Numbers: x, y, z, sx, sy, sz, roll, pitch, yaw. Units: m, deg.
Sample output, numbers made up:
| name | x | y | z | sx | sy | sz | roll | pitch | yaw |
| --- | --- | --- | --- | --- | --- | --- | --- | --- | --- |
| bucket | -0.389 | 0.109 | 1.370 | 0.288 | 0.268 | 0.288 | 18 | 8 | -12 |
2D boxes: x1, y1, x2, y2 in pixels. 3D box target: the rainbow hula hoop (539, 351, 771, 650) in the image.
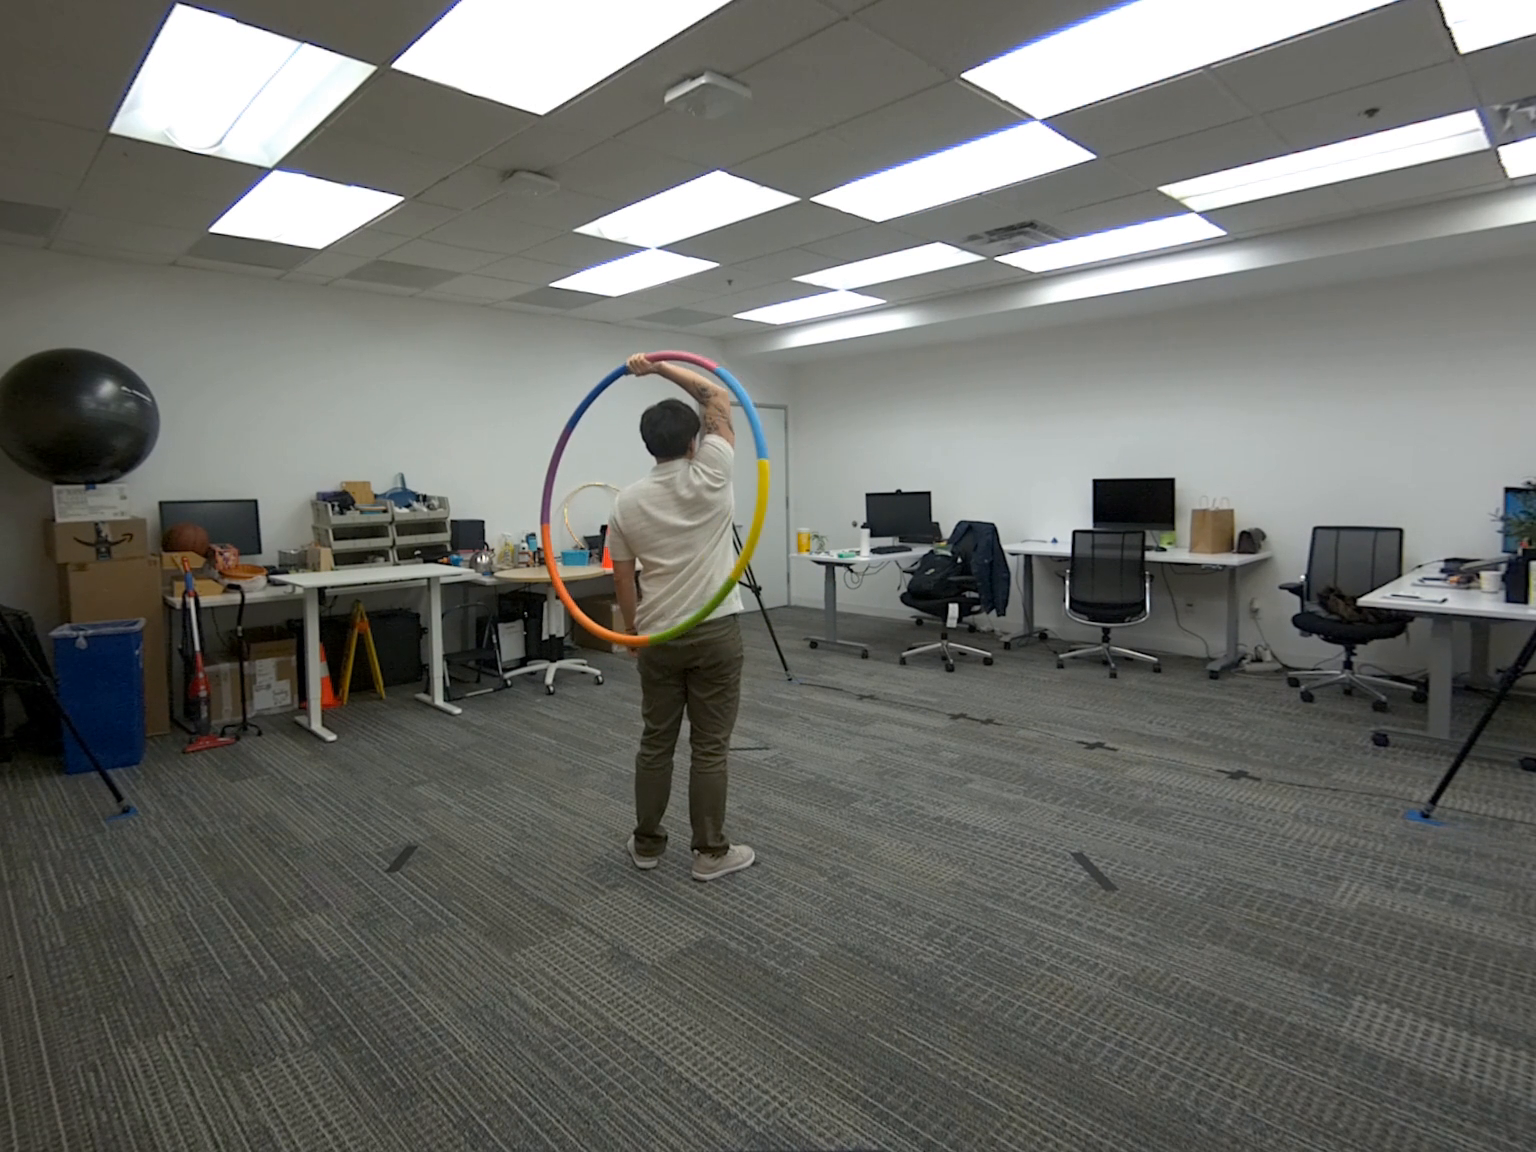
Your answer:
| name | x | y | z | sx | sy | sz | roll | pitch | yaw |
| --- | --- | --- | --- | --- | --- | --- | --- | --- | --- |
| rainbow hula hoop | -0.401 | -0.270 | 2.851 | 1.007 | 0.983 | 0.034 | 3 | -7 | 36 |
